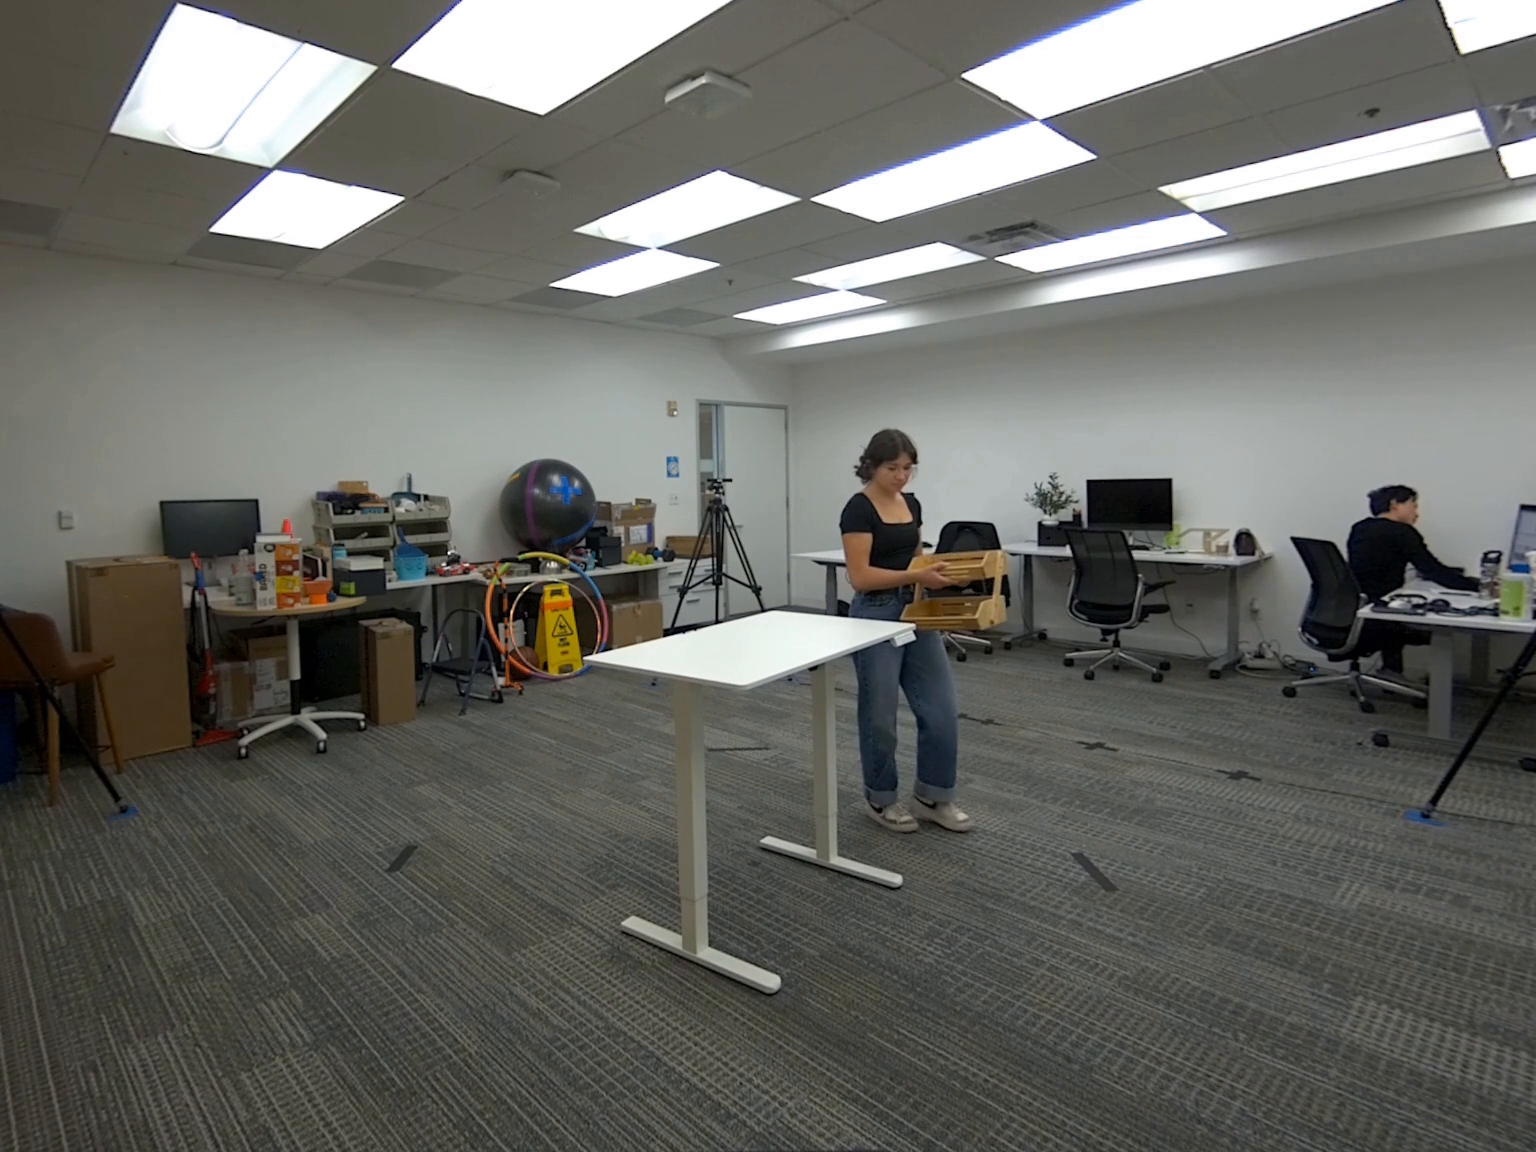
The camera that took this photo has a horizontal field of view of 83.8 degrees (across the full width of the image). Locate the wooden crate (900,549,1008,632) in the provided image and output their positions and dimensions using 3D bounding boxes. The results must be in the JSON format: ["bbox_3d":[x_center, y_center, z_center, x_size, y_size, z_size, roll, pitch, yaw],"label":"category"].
[{"bbox_3d":[0.691,0.051,3.155,0.333,0.273,0.294,-4,2,40],"label":"wooden crate"}]
